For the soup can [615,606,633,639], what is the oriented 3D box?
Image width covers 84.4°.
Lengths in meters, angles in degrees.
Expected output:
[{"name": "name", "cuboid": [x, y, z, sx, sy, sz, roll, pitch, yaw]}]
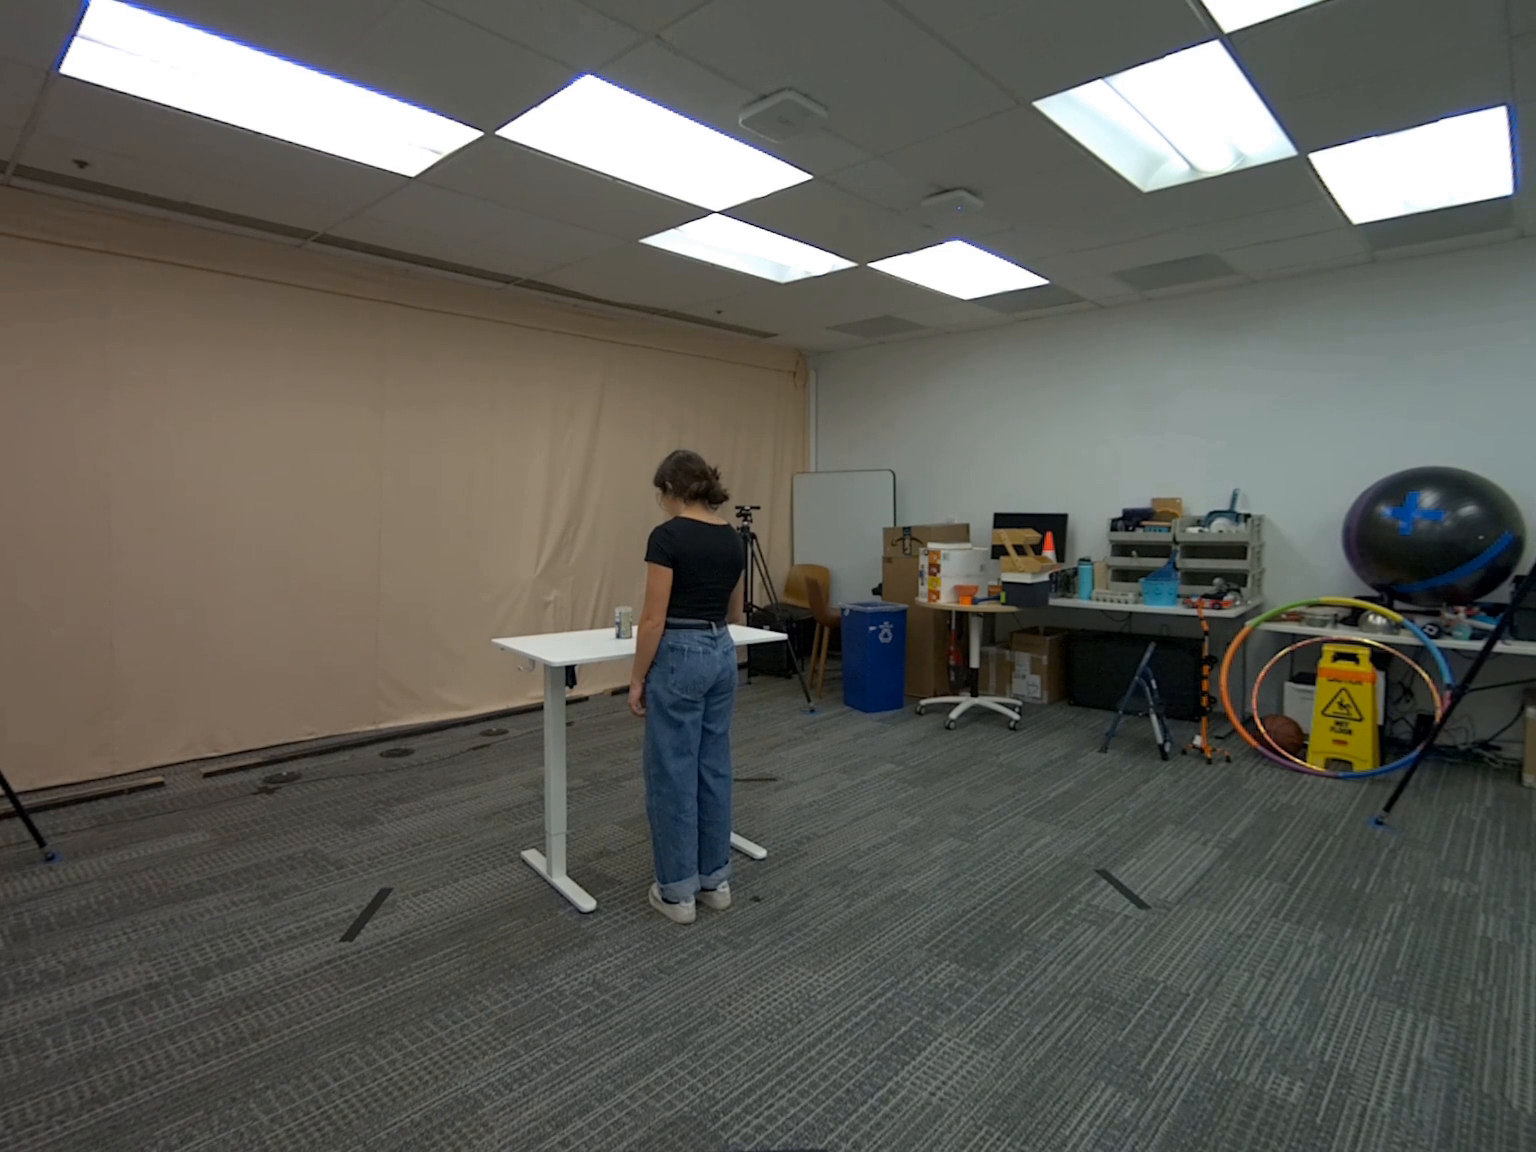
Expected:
[{"name": "soup can", "cuboid": [-0.560, 0.184, 3.283, 0.067, 0.121, 0.067, -1, 2, -2]}]
